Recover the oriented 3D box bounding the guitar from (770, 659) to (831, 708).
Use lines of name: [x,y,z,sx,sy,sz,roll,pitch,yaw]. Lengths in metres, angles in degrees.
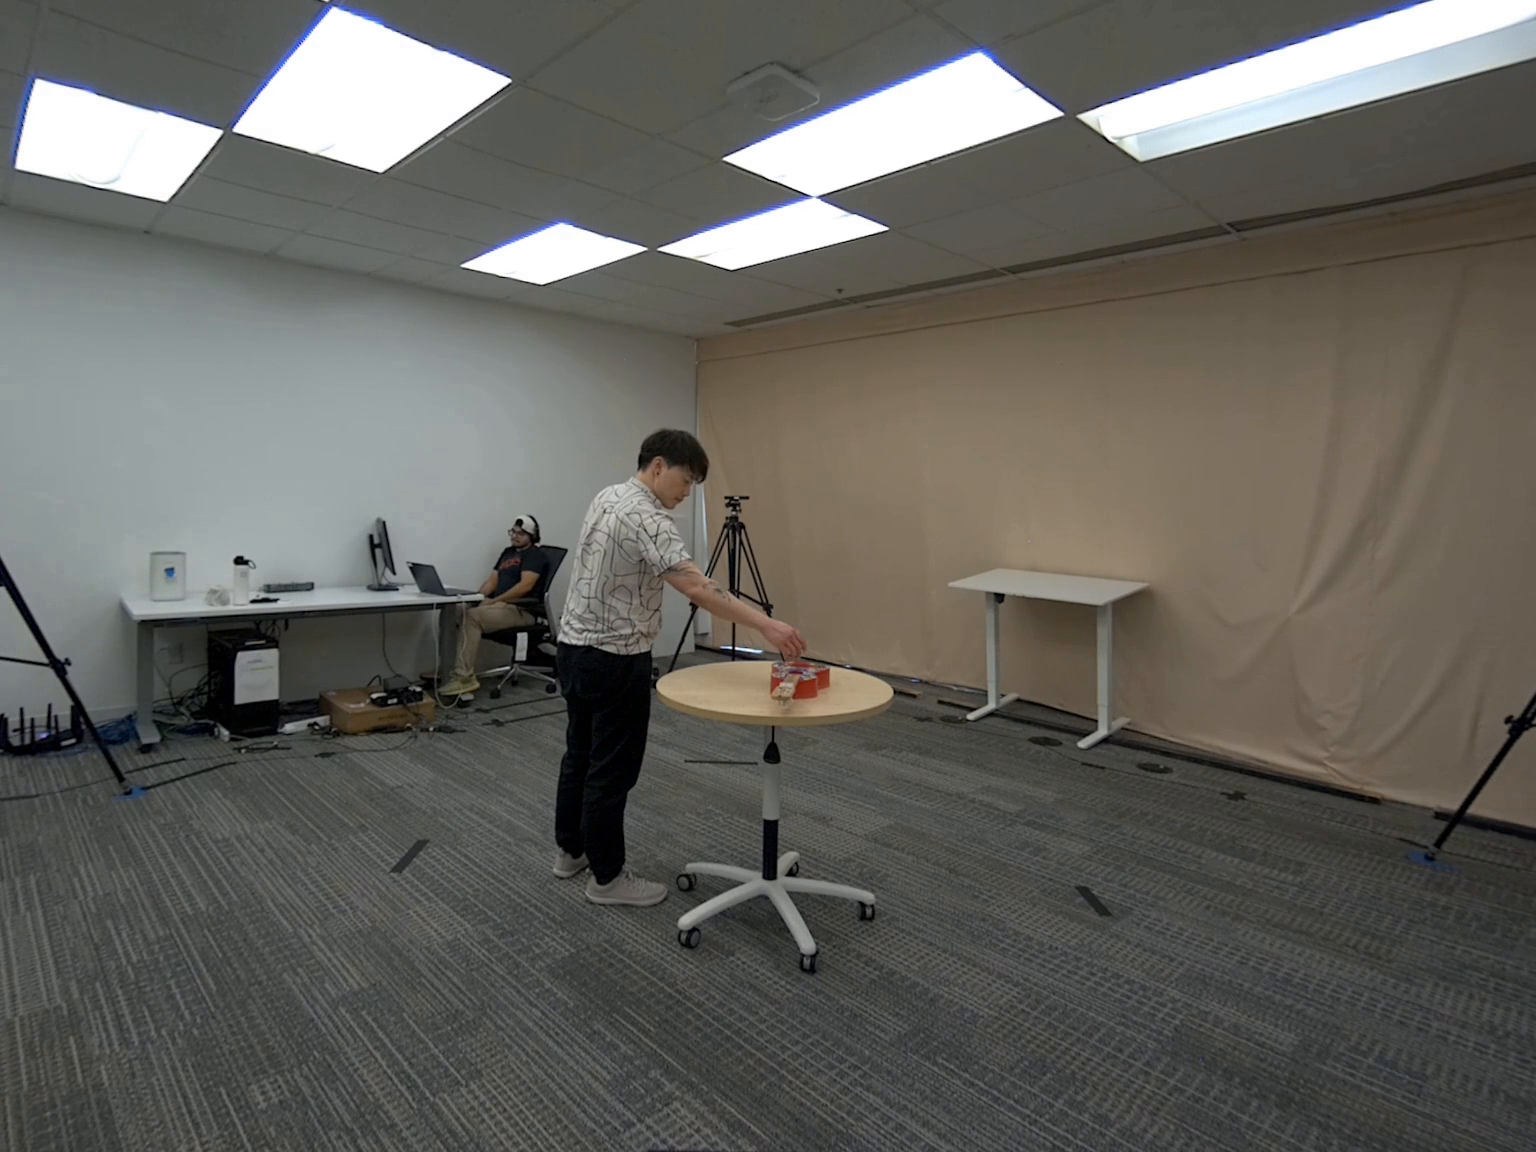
guitar: [0.043,0.339,2.583,0.196,0.070,0.491,4,6,19]
